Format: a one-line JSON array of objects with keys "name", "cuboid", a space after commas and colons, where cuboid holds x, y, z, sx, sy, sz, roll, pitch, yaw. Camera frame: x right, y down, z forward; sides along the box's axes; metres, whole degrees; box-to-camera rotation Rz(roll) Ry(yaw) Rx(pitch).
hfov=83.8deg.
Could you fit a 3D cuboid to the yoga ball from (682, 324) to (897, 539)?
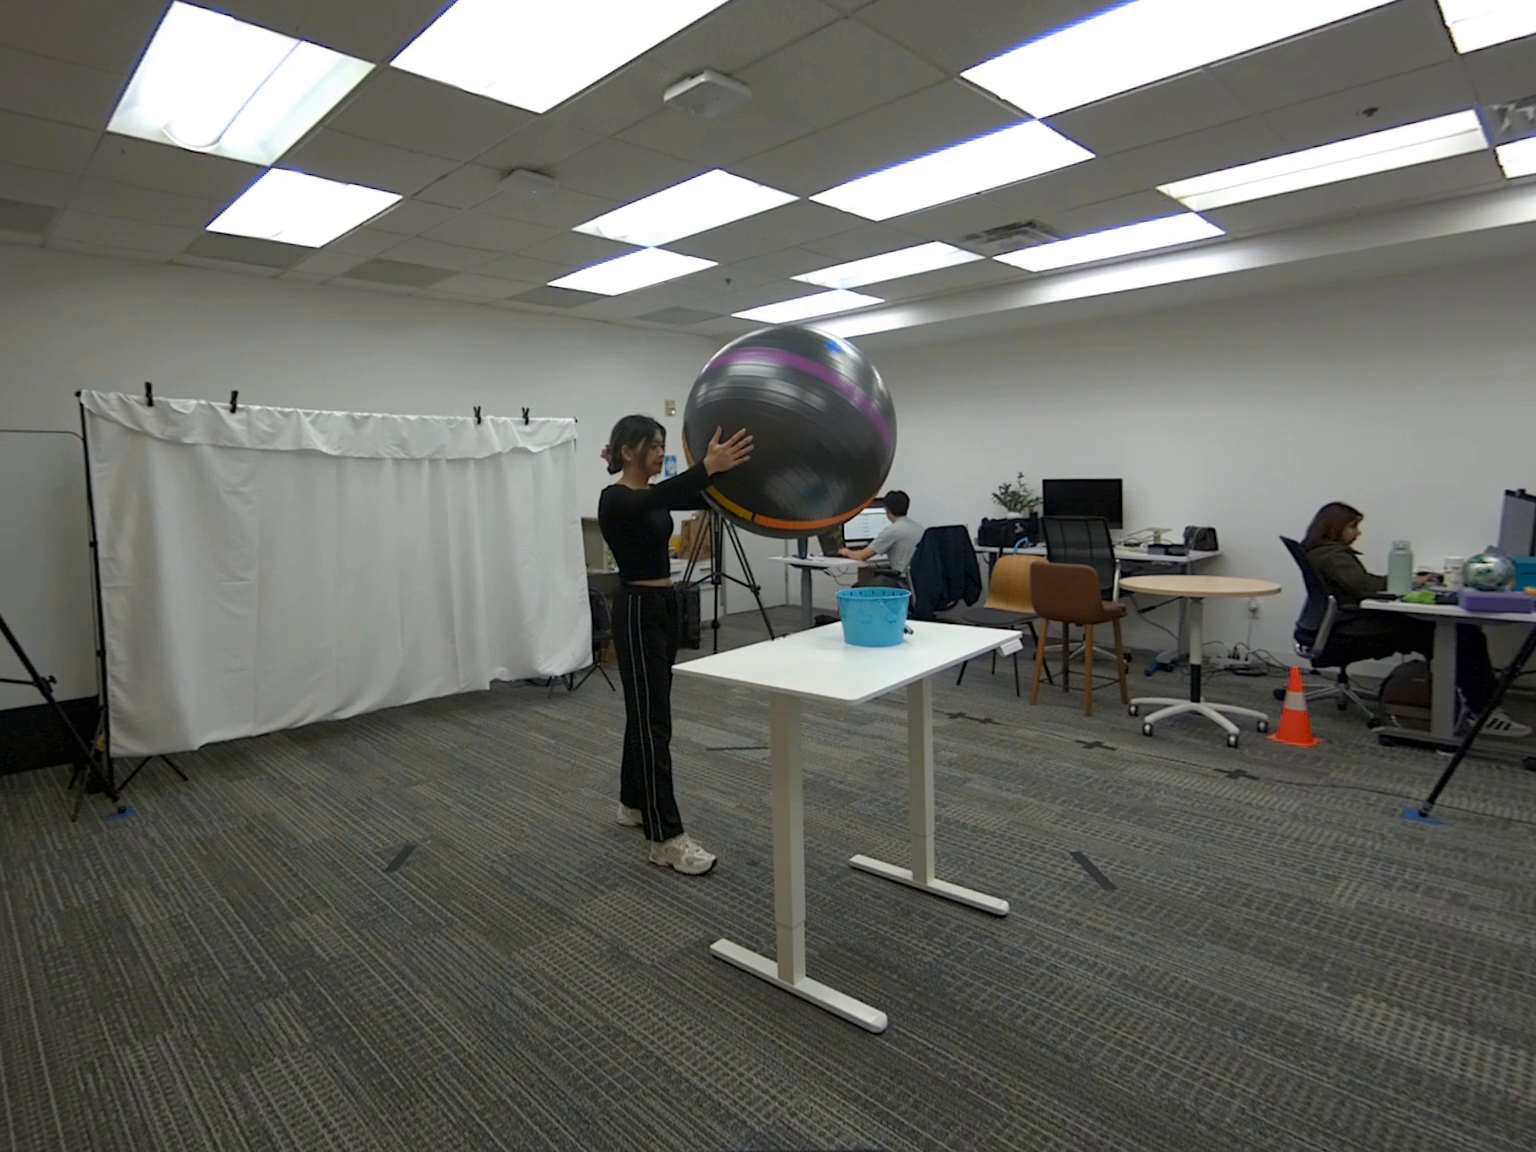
[{"name": "yoga ball", "cuboid": [0.075, -0.503, 3.046, 0.757, 0.755, 0.762, -1, 5, -2]}]
